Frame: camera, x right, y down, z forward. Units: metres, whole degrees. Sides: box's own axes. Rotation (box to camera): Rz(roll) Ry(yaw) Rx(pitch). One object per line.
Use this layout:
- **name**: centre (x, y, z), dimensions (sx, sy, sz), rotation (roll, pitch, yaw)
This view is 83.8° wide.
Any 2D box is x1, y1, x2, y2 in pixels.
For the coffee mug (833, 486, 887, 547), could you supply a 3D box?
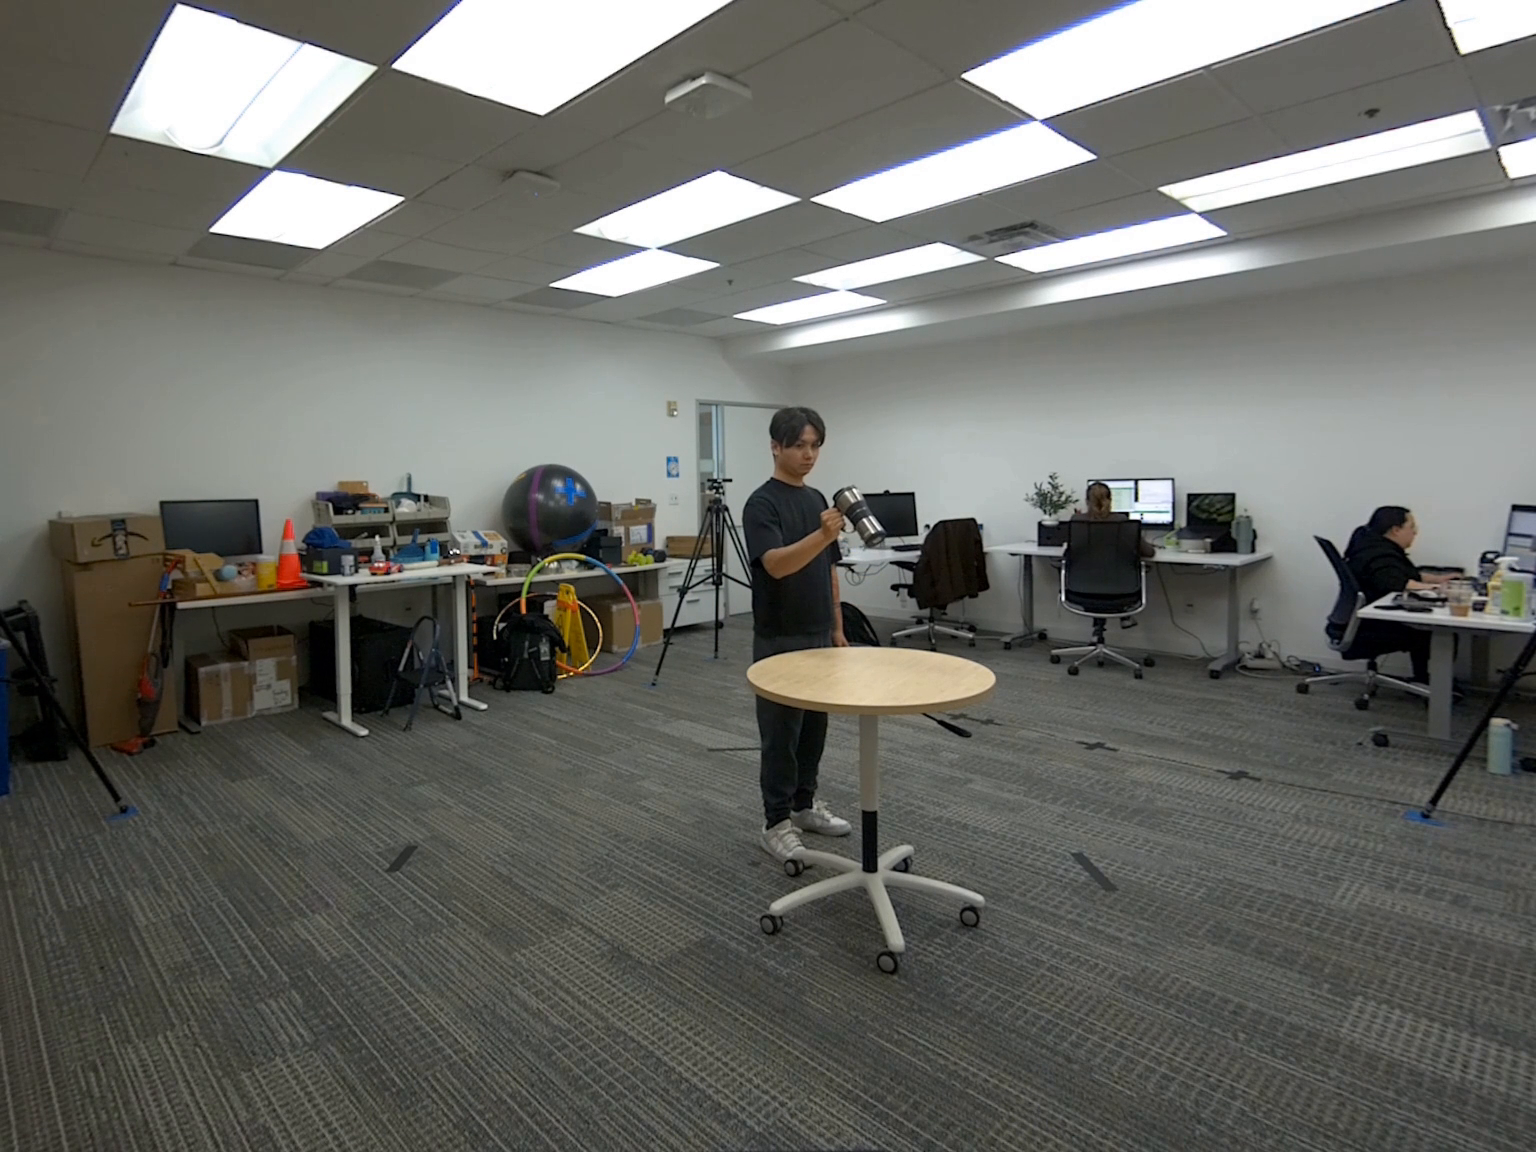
- **coffee mug**: centre (0.285, -0.179, 2.708), dimensions (0.087, 0.209, 0.119), rotation (-25, -24, -13)
